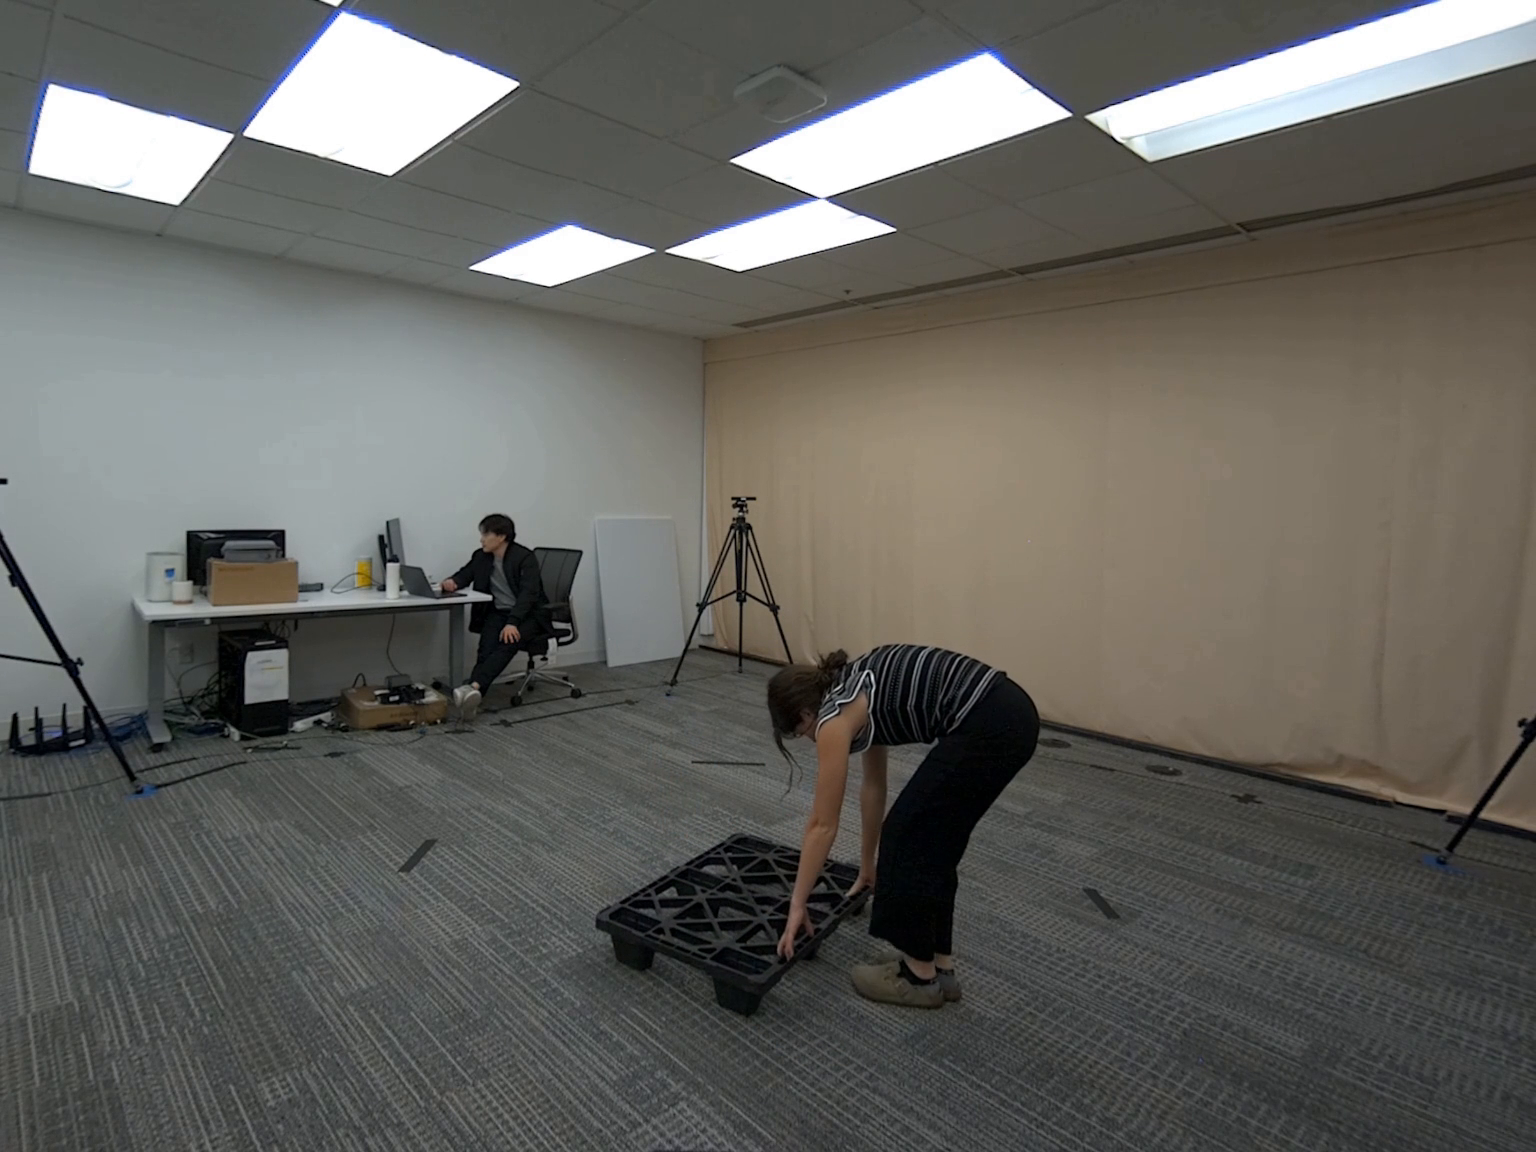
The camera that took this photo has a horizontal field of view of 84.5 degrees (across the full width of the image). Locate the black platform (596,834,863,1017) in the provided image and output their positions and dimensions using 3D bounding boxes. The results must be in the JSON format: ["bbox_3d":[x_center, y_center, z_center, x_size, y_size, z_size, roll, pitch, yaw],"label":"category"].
[{"bbox_3d":[-0.077,1.079,2.689,0.619,0.143,0.789,4,6,32],"label":"black platform"}]
